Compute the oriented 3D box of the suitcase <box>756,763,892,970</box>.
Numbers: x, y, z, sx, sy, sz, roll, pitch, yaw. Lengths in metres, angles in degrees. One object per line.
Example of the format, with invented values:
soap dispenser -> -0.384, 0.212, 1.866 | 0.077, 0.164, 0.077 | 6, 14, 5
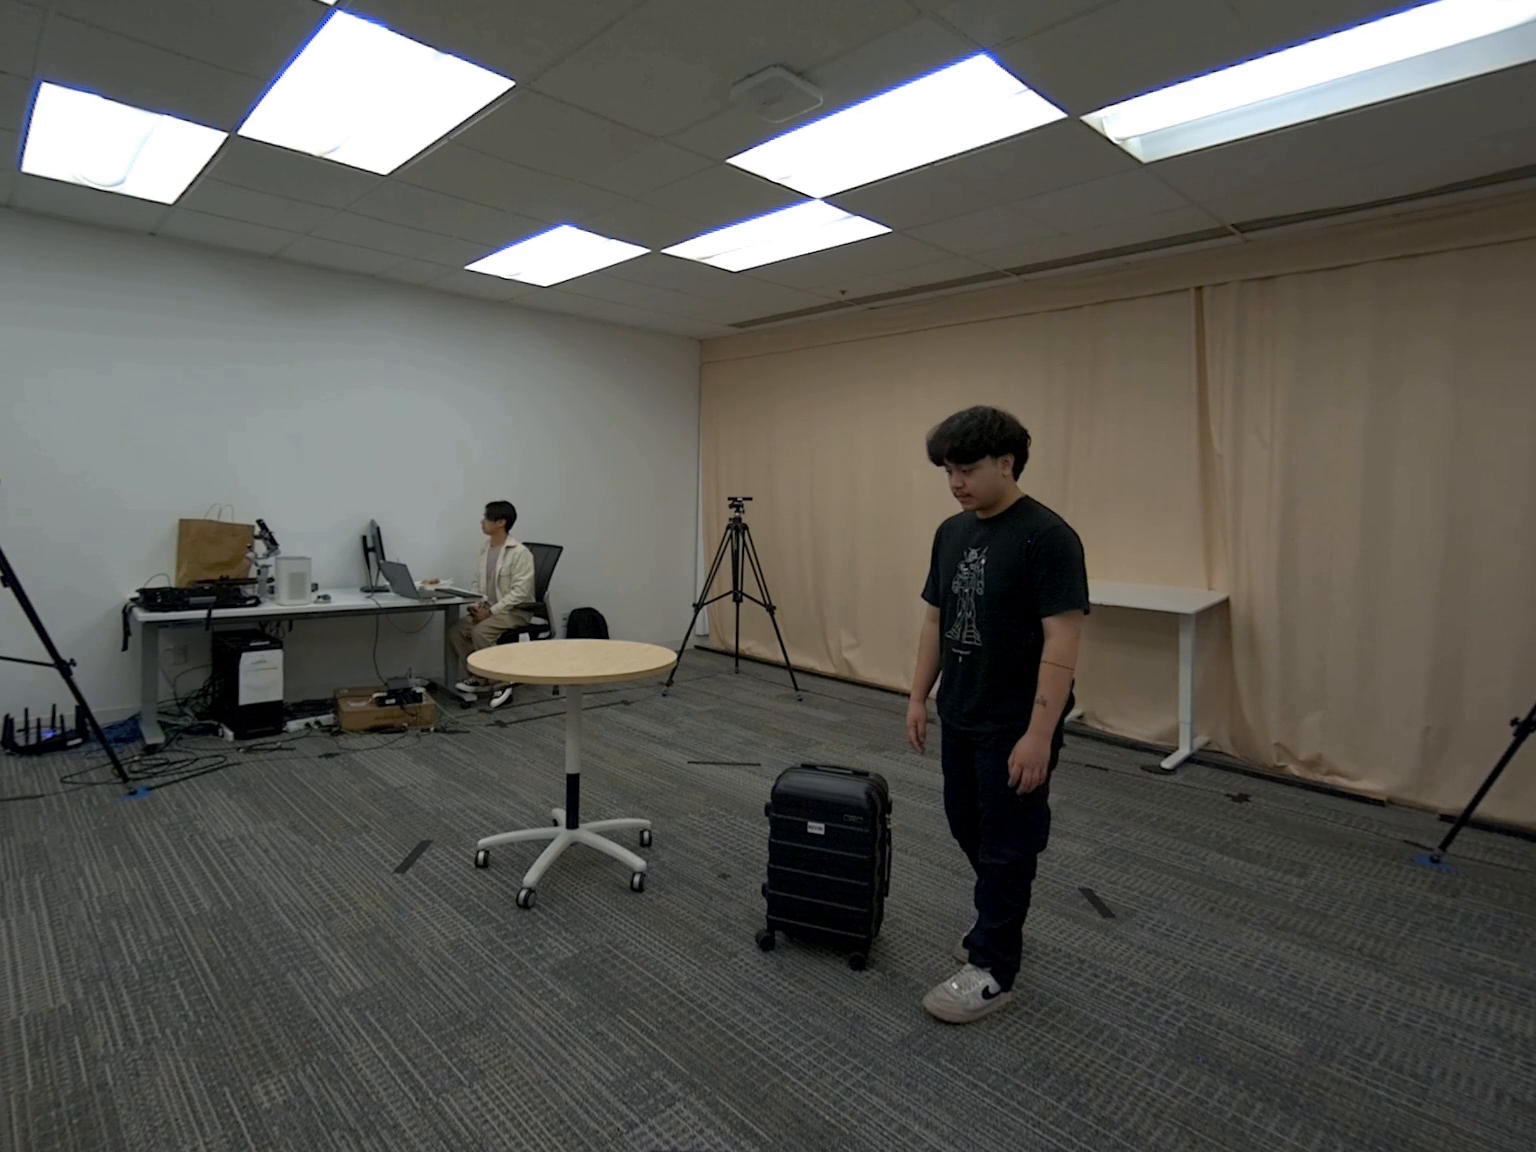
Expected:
suitcase -> 0.186, 0.886, 2.643 | 0.381, 0.548, 0.245 | 4, 4, 19
